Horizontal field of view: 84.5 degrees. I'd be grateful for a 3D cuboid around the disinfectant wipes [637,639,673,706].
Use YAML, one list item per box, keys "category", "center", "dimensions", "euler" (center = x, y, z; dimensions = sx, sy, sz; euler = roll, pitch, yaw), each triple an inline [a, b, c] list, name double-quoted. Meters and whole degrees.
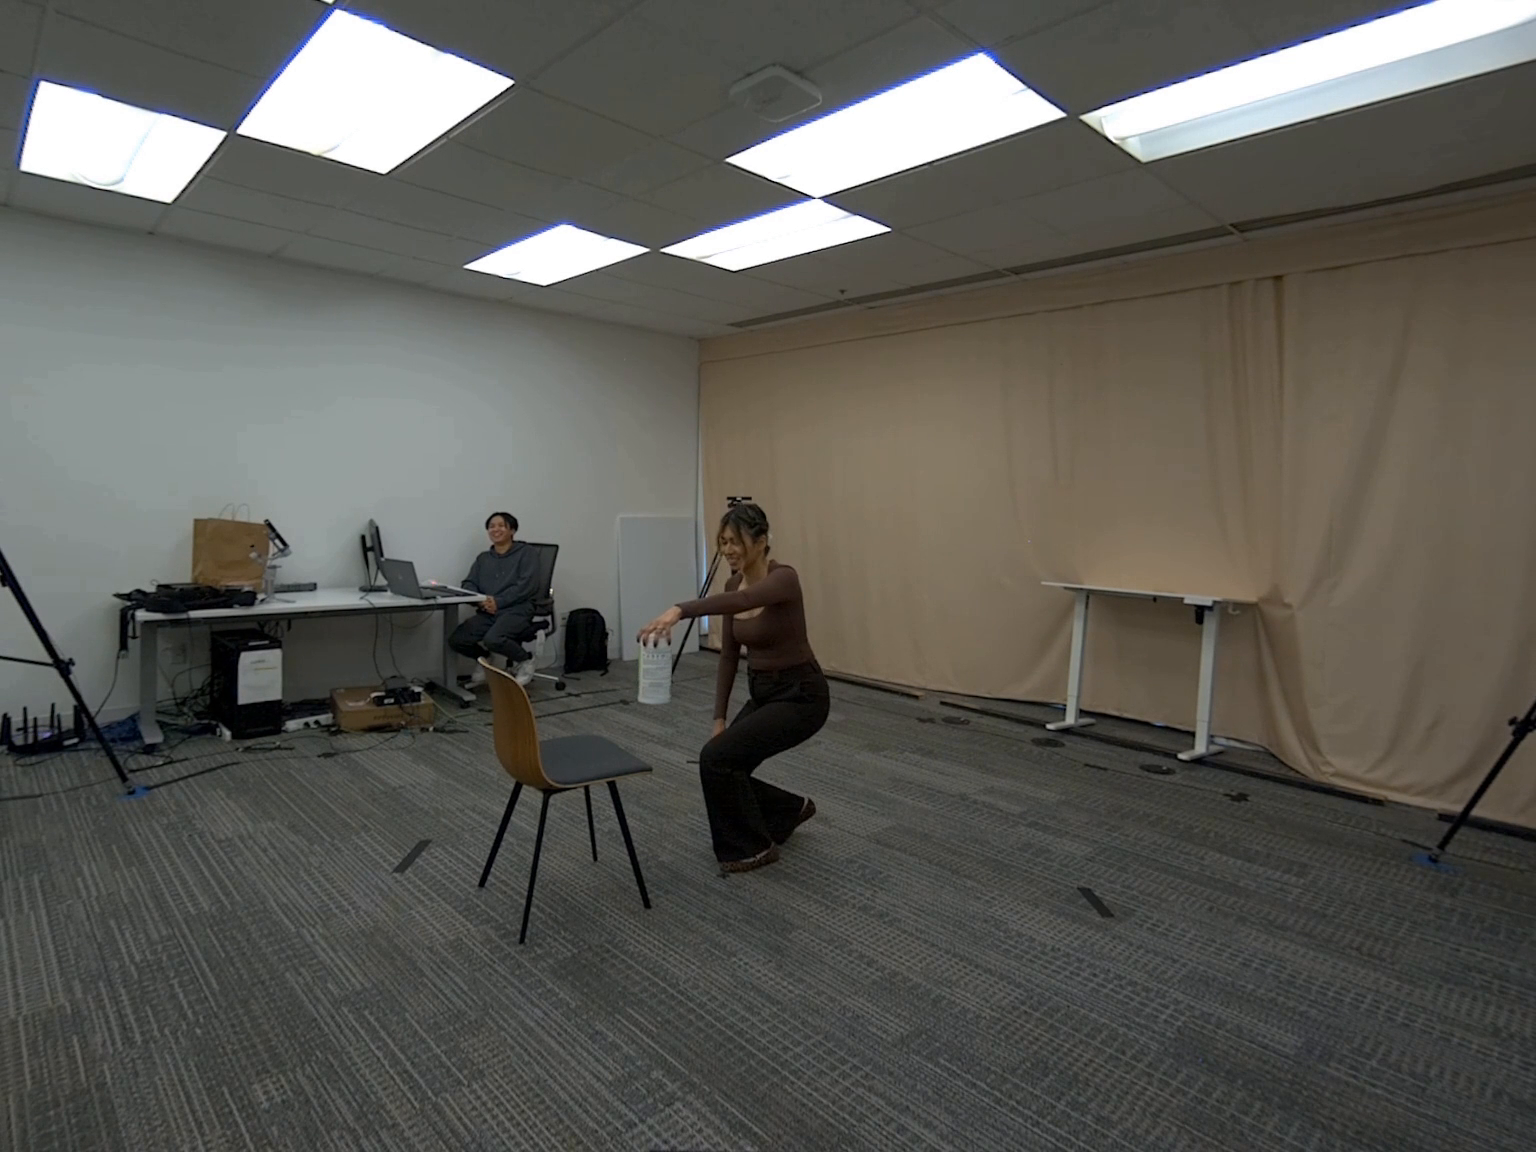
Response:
- category: "disinfectant wipes"
  center: [-0.371, 0.303, 2.734]
  dimensions: [0.118, 0.217, 0.118]
  euler: [2, 2, -1]
